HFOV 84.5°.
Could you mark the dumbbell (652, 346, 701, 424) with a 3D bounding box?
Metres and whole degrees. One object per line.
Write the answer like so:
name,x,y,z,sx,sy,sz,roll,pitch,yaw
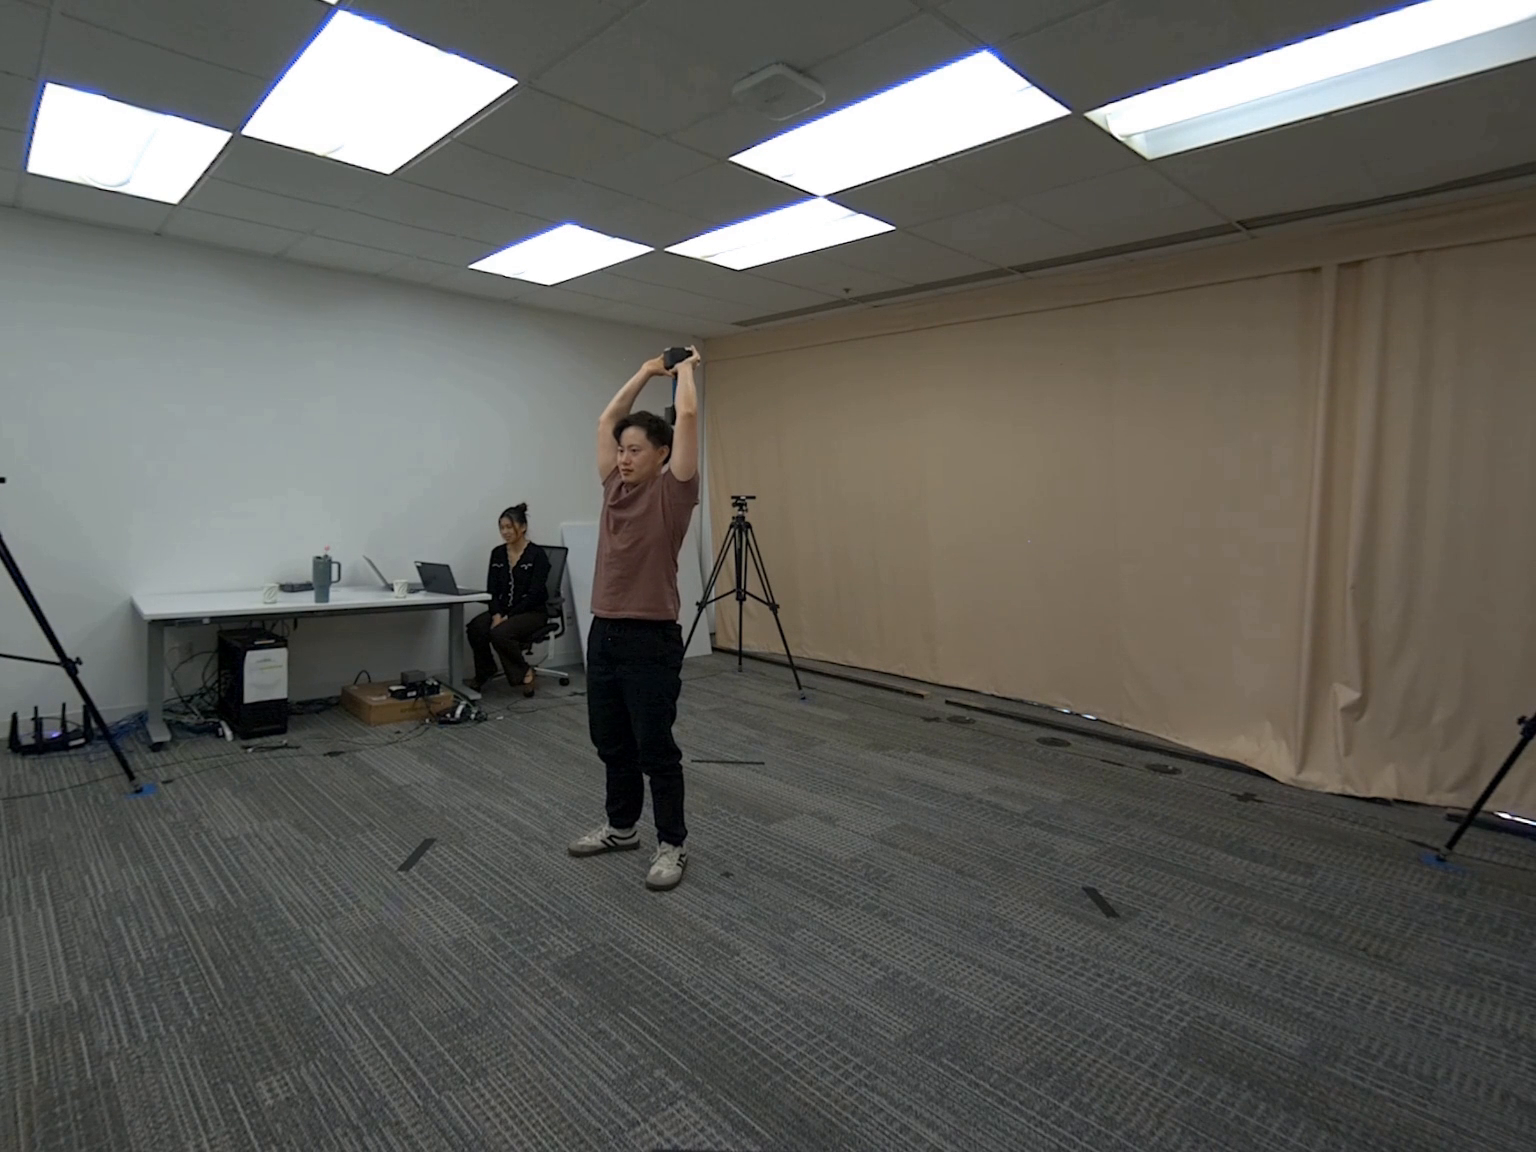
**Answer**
dumbbell,-0.349,-0.724,3.226,0.111,0.291,0.121,5,13,38
